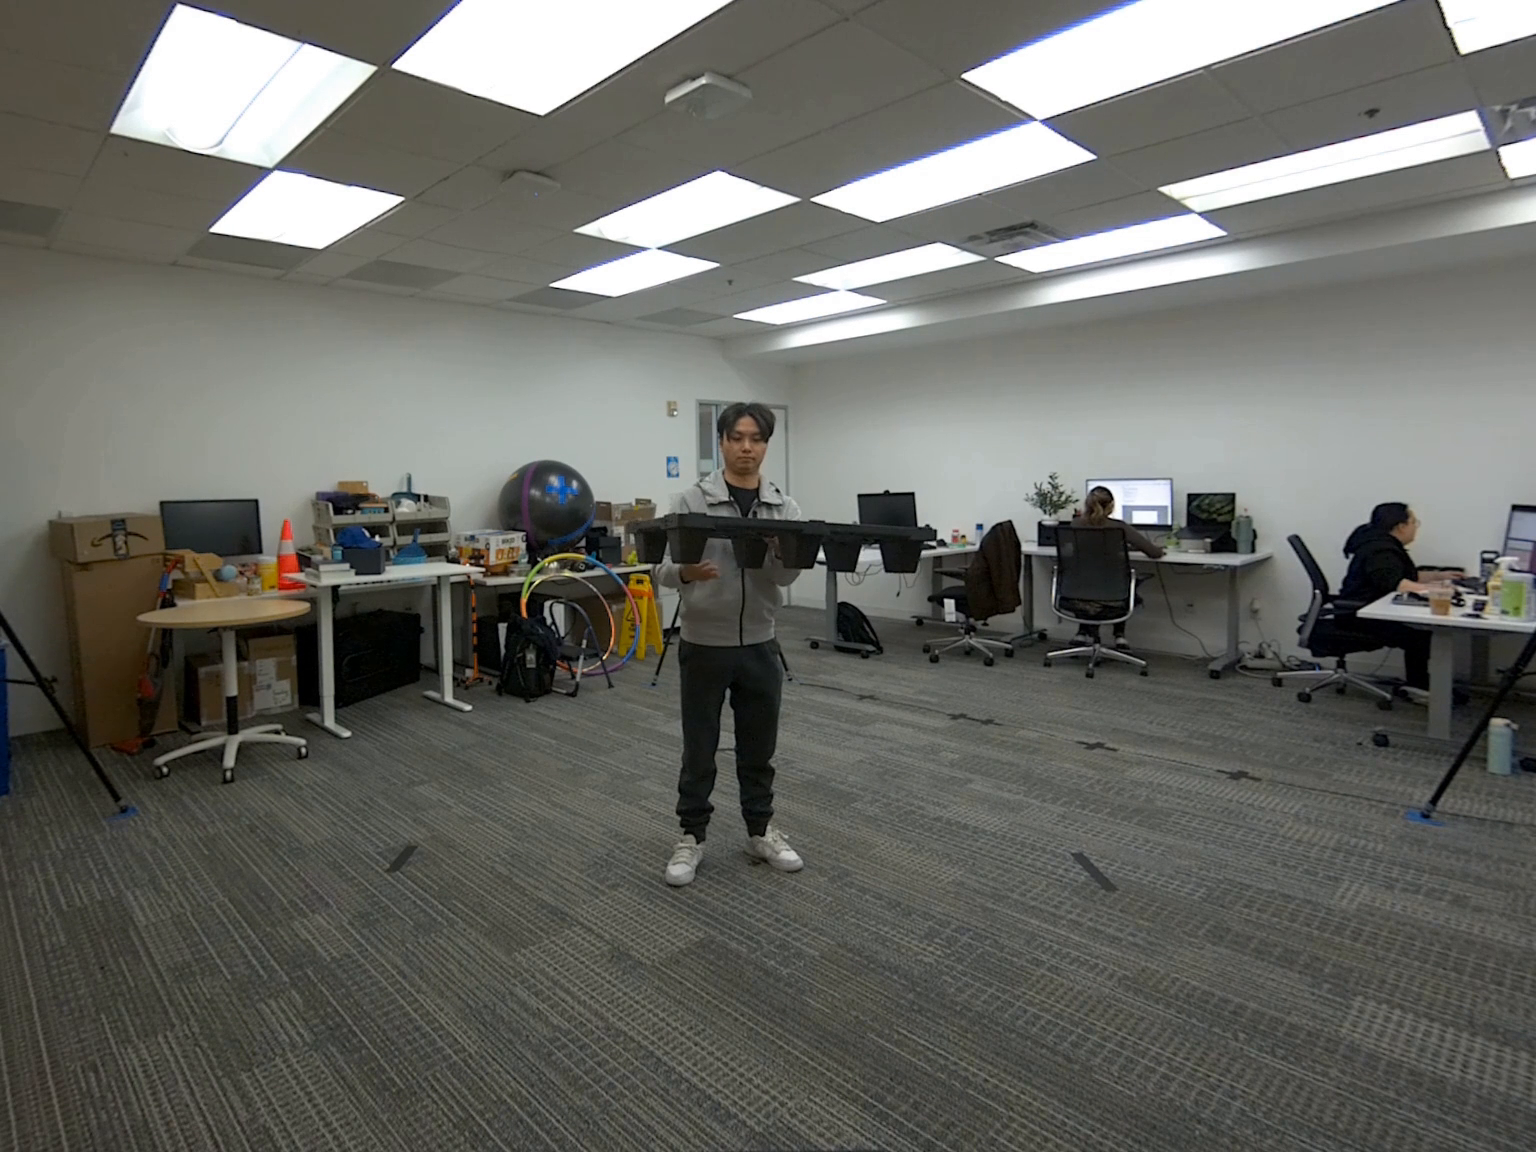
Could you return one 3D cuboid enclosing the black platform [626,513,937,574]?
[{"bbox_3d":[0.025,-0.087,2.626,0.790,0.143,0.616,2,1,-21],"label":"black platform"}]
